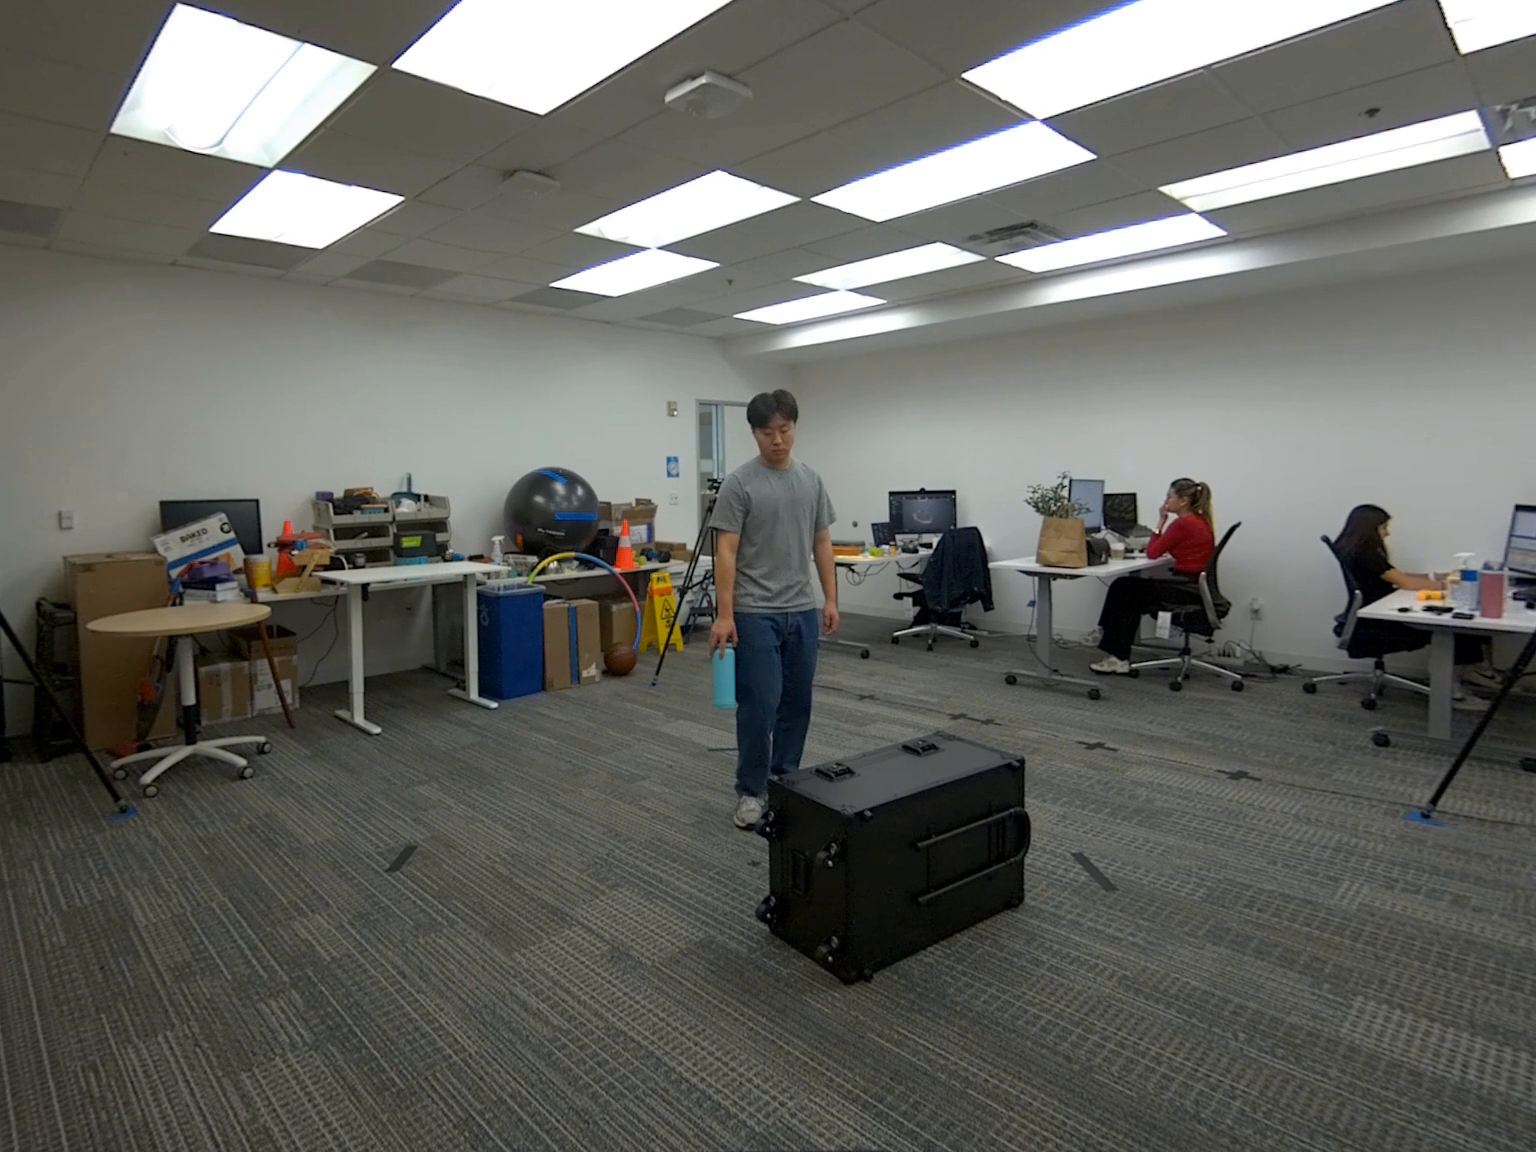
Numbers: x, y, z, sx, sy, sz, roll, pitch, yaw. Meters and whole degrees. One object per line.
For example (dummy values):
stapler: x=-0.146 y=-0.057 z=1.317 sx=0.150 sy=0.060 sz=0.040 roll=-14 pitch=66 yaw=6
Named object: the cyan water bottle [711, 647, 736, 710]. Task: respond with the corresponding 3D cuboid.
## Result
cyan water bottle: x=-0.170 y=0.370 z=3.370 sx=0.092 sy=0.286 sz=0.092 roll=-2 pitch=-8 yaw=-2
